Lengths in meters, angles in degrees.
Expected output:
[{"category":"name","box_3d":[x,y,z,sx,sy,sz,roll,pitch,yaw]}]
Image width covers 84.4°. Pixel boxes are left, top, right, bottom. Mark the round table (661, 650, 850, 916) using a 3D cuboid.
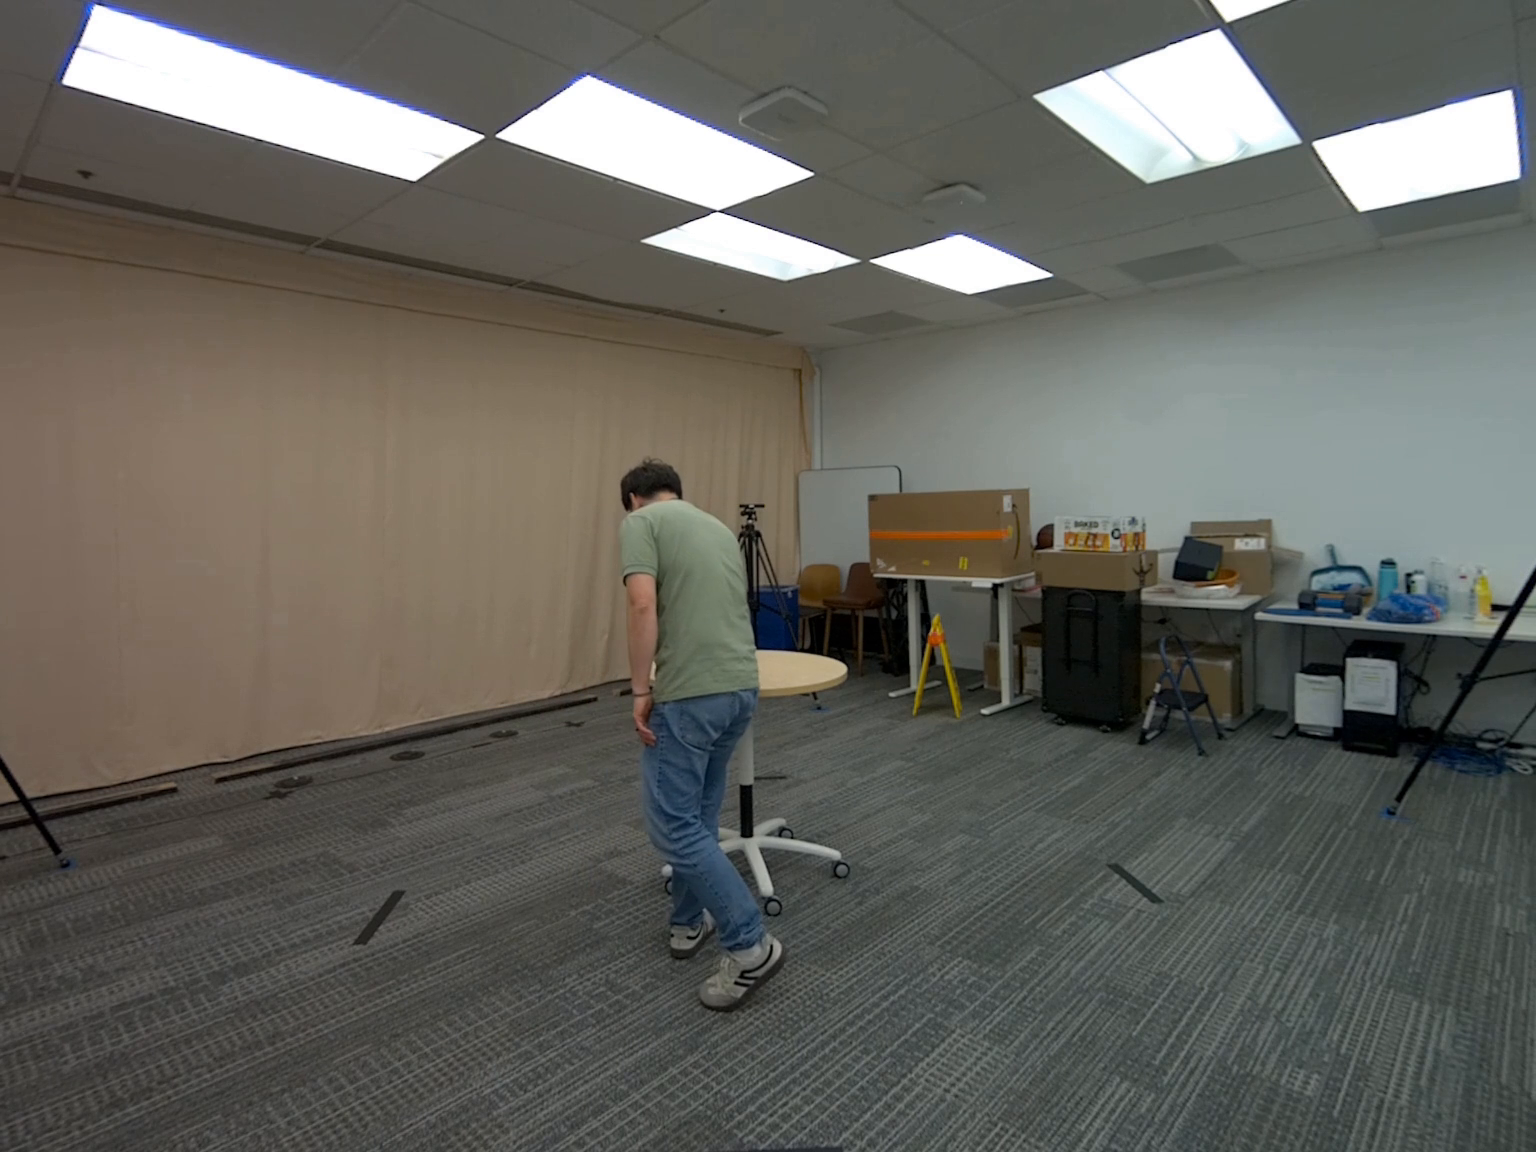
[{"category":"round table","box_3d":[-0.078,0.737,3.173,0.763,0.792,0.767,-1,4,-2]}]
